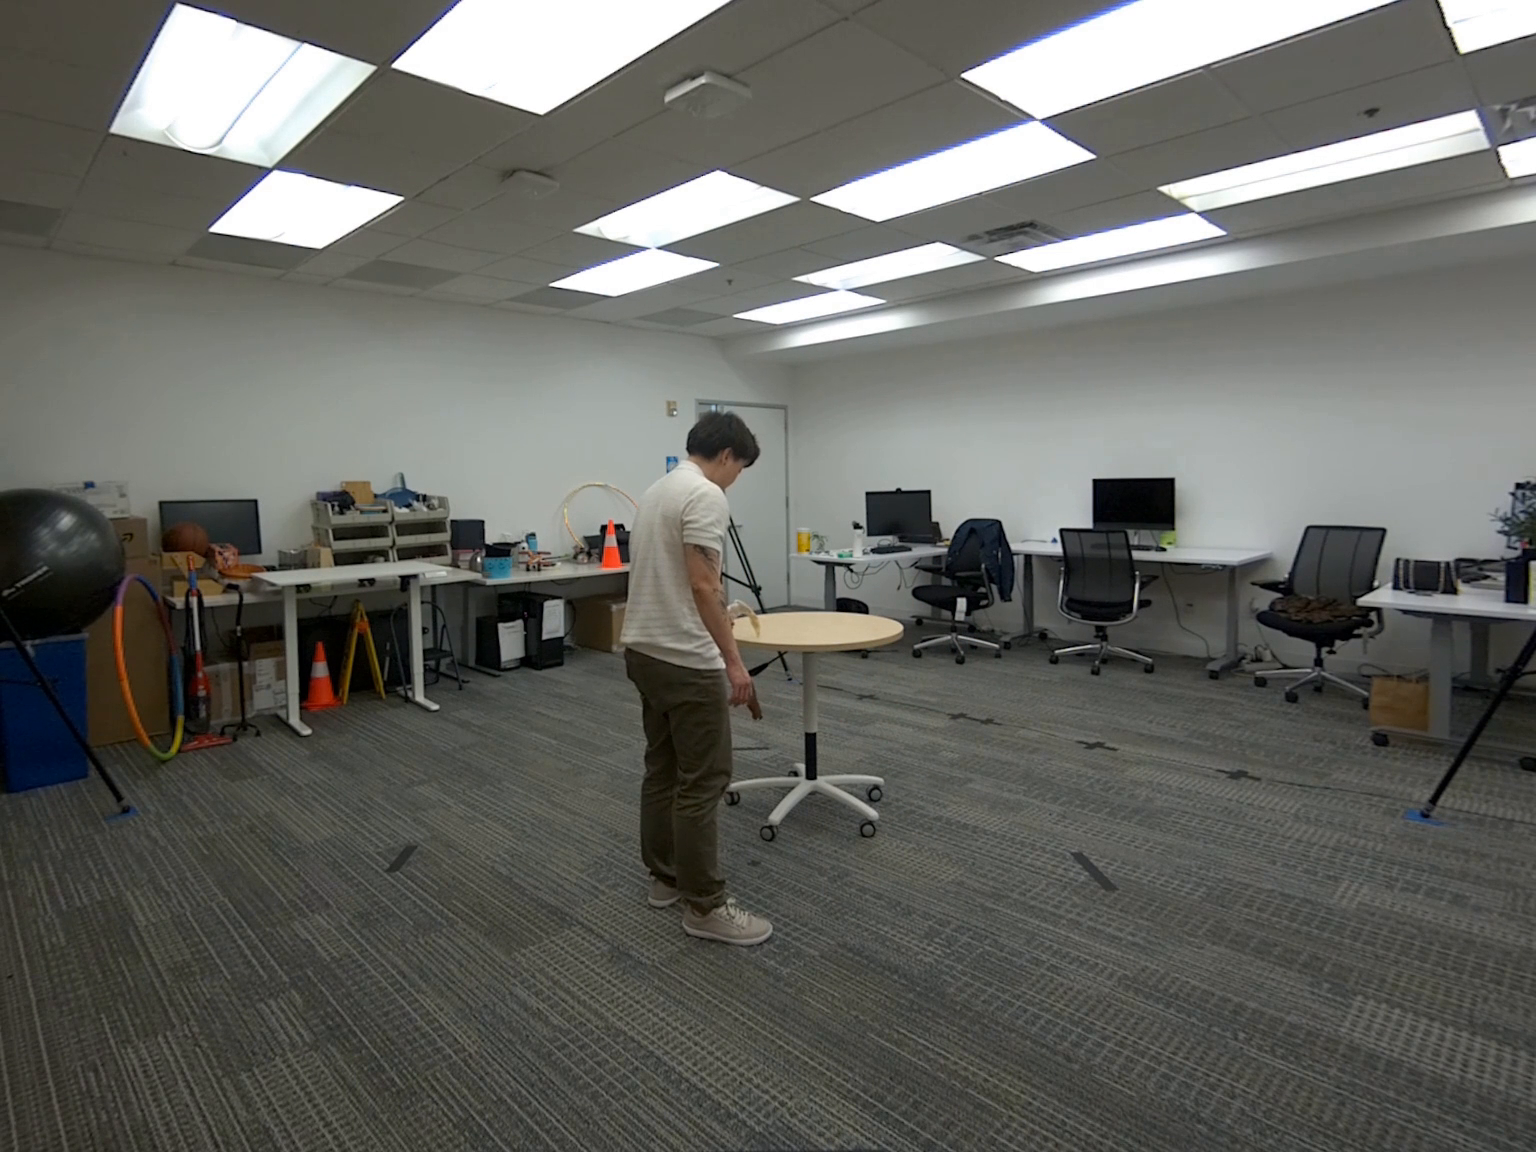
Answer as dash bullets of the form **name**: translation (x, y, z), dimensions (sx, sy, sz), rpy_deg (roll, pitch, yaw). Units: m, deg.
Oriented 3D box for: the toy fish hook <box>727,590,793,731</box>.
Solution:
- **toy fish hook**: translation (-0.067, 0.329, 3.319), dimensions (0.223, 0.493, 0.050), rpy_deg (-35, 30, -31)
